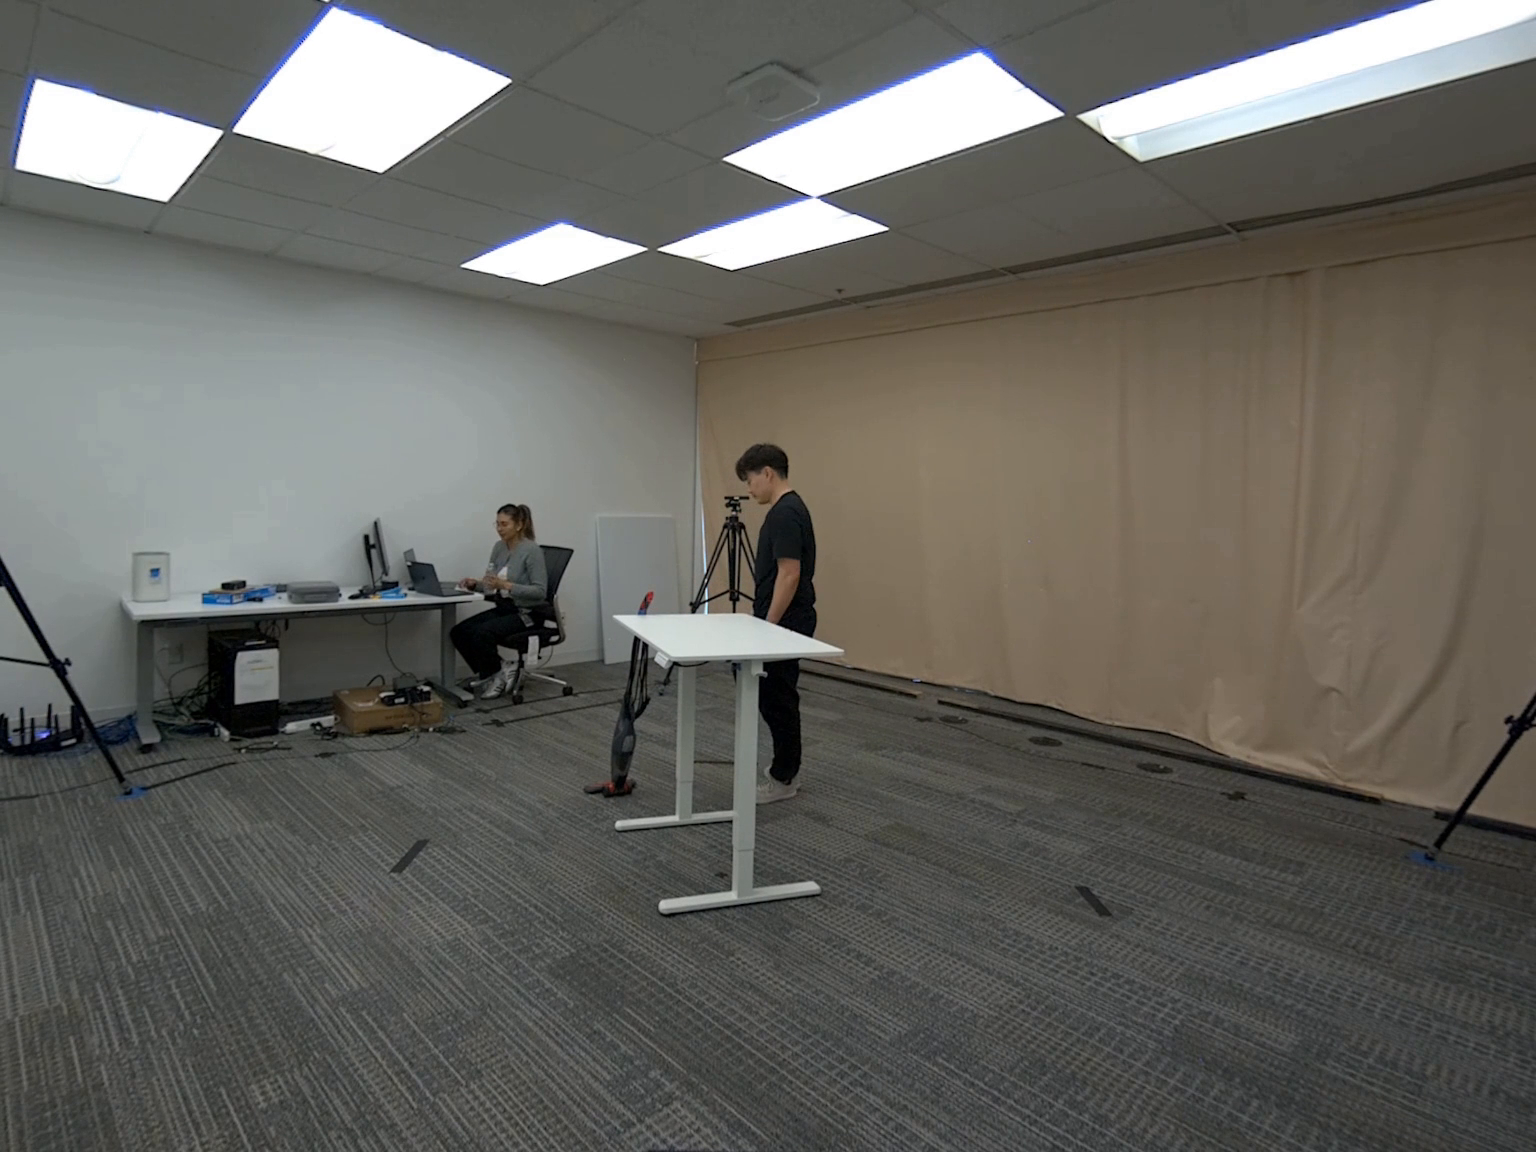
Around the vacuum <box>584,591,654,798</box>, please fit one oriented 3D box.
[{"bbox_3d":[-0.625,0.549,3.768,0.247,1.037,0.149,-2,27,-34],"label":"vacuum"}]
